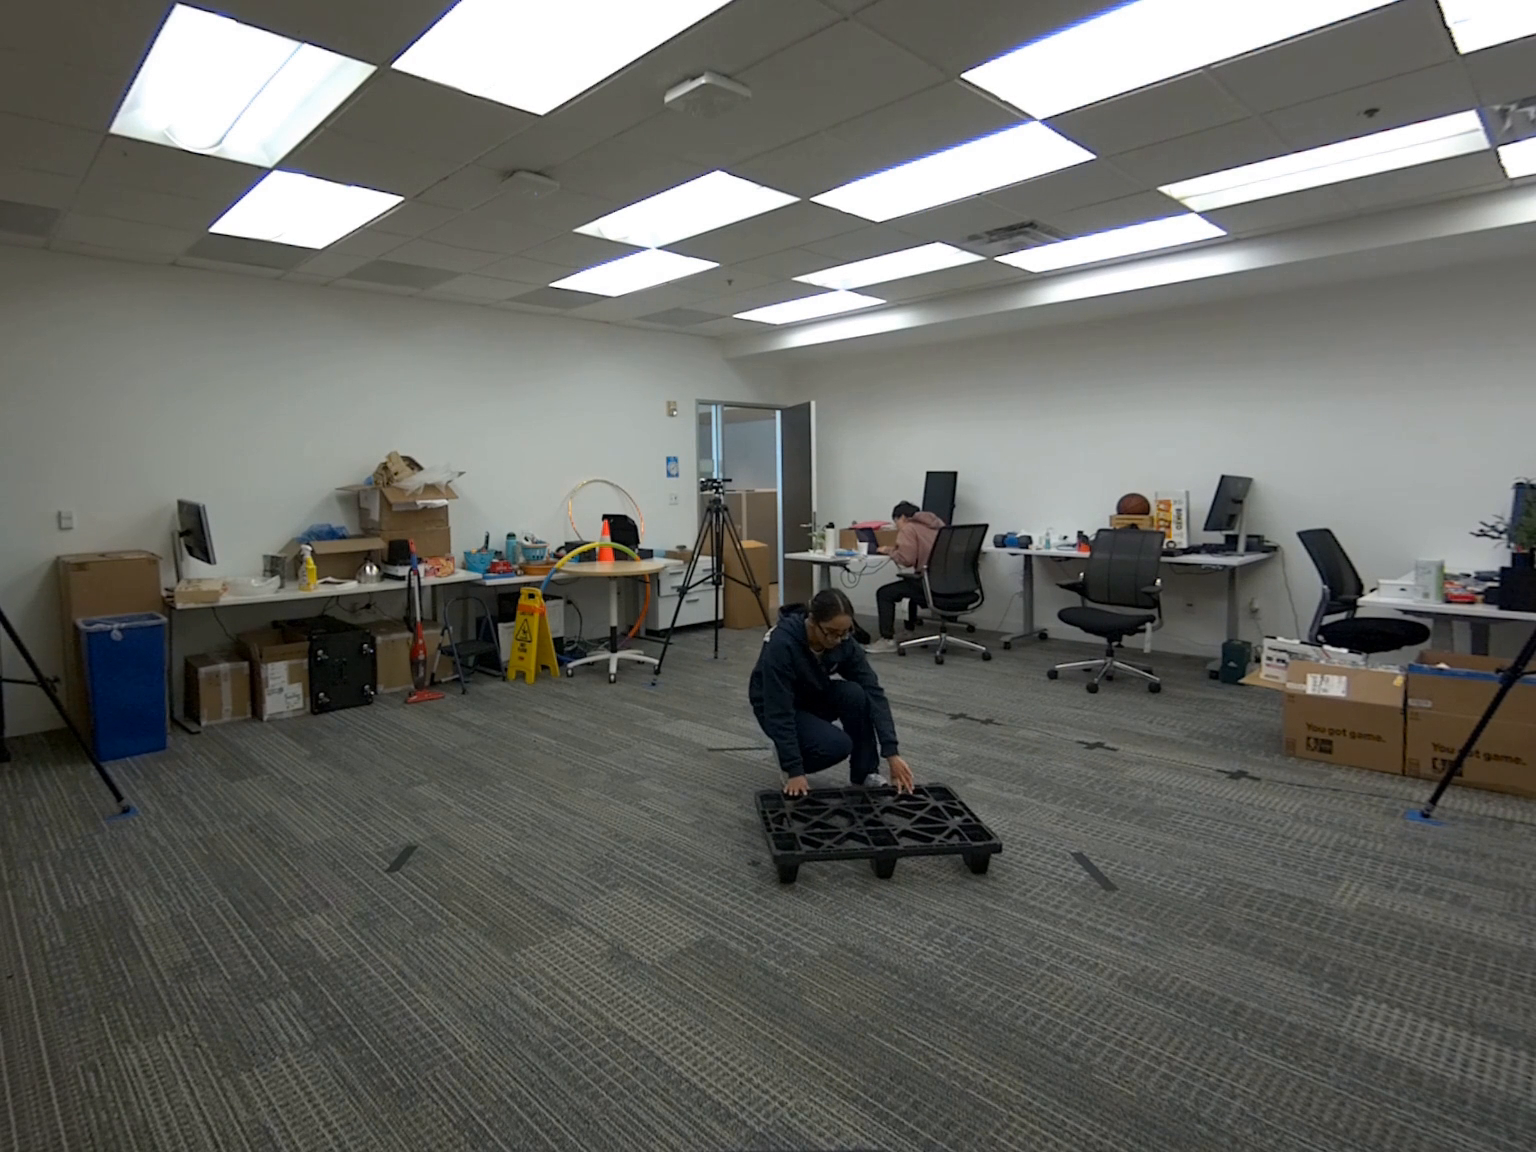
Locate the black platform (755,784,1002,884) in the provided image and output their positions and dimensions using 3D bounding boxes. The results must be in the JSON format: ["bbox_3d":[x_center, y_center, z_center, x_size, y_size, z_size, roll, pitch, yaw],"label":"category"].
[{"bbox_3d":[0.370,0.961,3.204,0.802,0.143,0.610,-2,5,-5],"label":"black platform"}]
